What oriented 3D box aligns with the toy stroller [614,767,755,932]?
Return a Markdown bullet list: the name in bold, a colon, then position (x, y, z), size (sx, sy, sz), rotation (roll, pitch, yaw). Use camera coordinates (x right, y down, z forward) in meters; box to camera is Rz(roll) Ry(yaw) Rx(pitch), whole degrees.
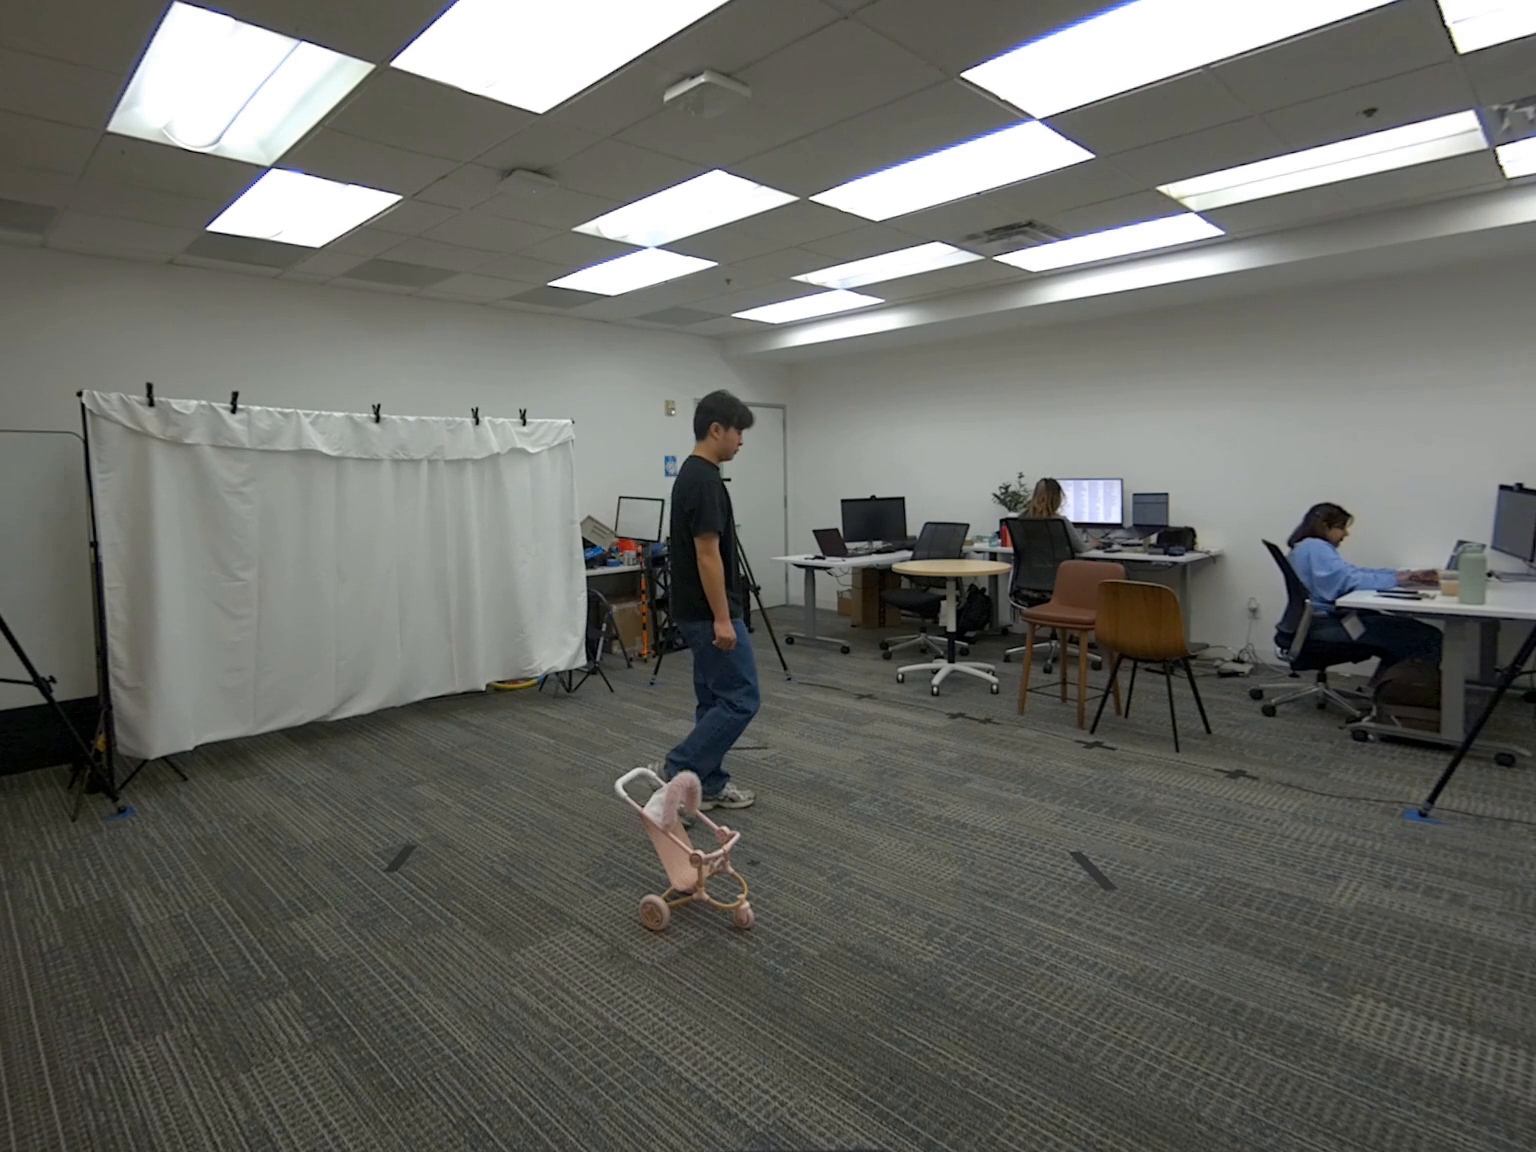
- **toy stroller**: position (-0.252, 0.868, 2.727), size (0.347, 0.537, 0.276), rotation (-18, -4, 29)
